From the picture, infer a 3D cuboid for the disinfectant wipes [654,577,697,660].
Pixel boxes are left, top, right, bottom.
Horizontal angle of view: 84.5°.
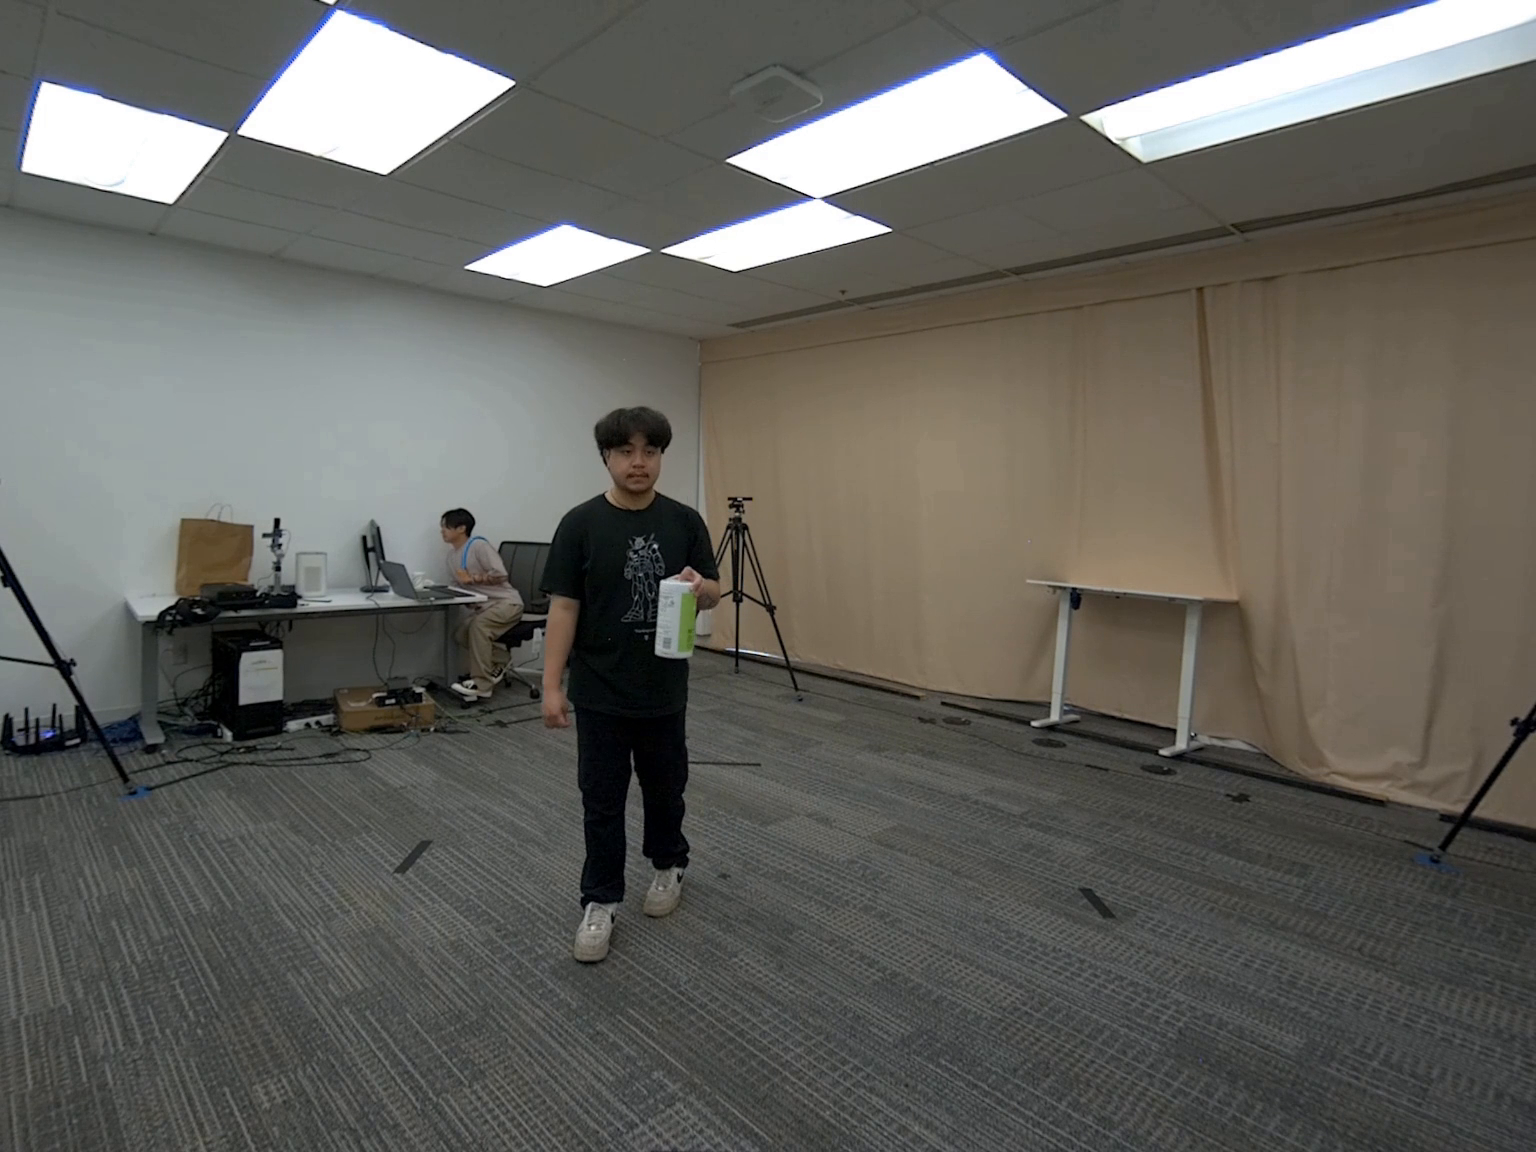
[{"bbox_3d":[-0.266,0.128,2.398,0.118,0.217,0.118,3,3,-2],"label":"disinfectant wipes"}]
